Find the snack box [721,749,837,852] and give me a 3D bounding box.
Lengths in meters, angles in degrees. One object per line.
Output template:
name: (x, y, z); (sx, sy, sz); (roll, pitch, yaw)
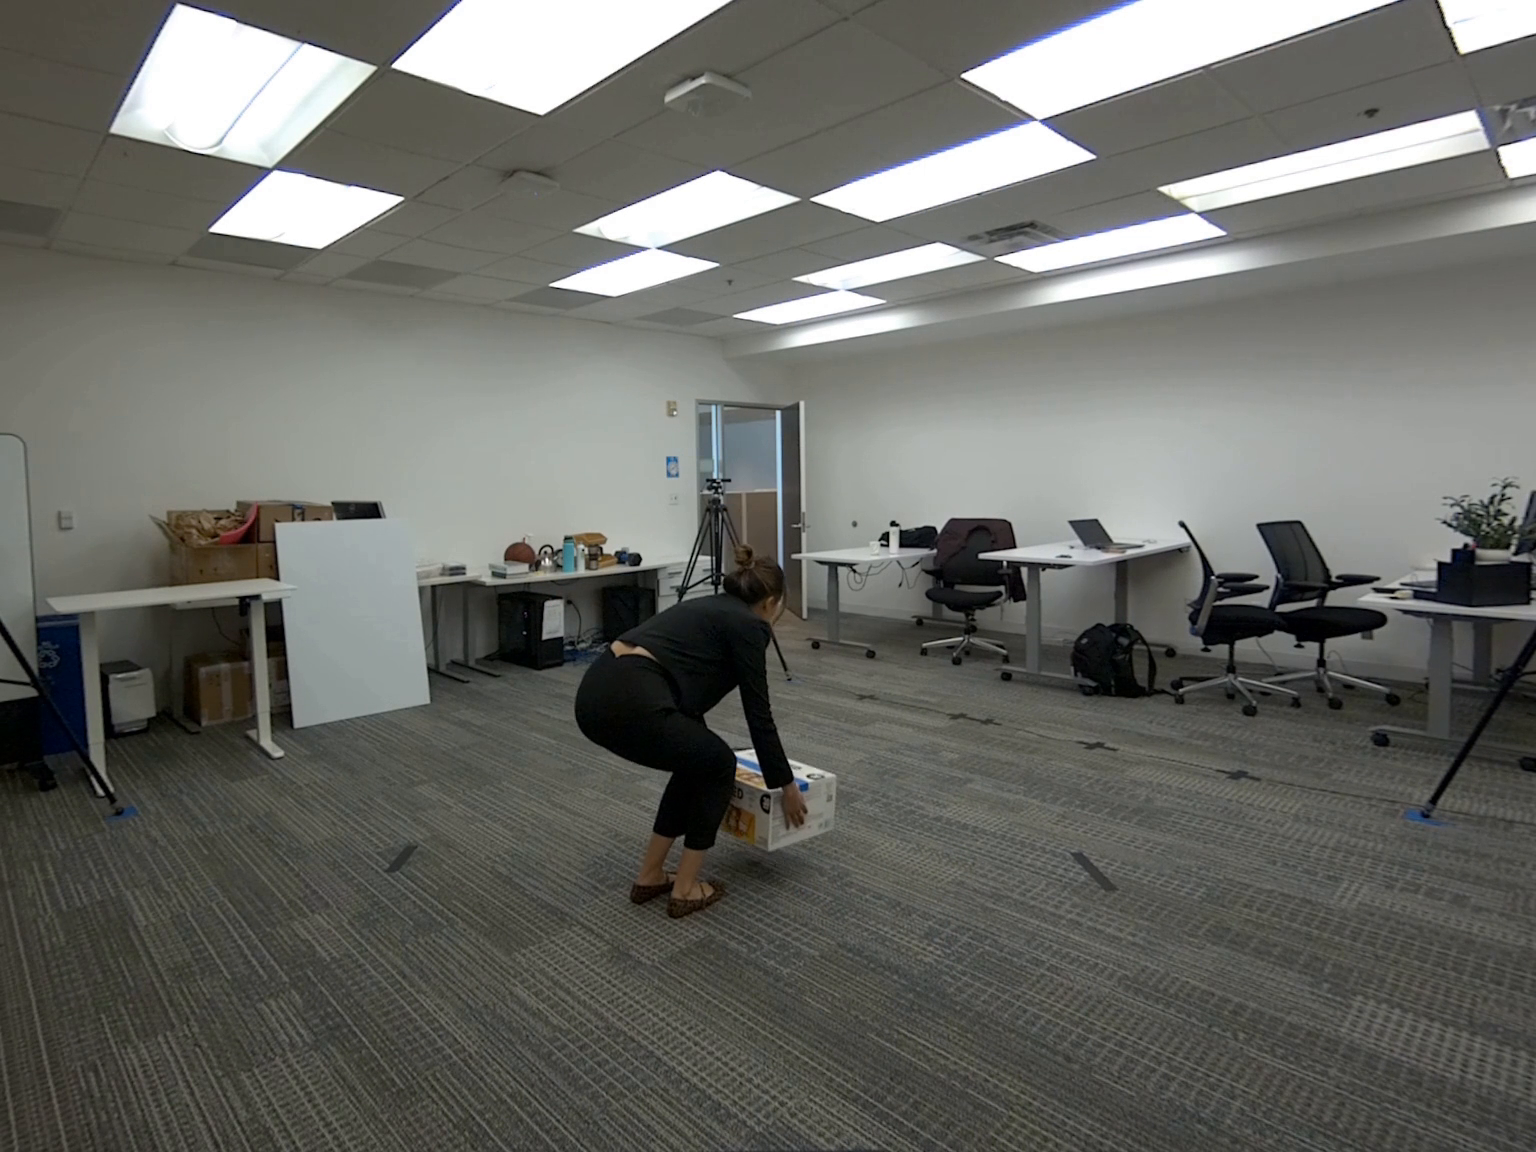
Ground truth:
snack box: (-0.019, 0.786, 3.089); (0.330, 0.205, 0.418); (-1, 6, -45)
